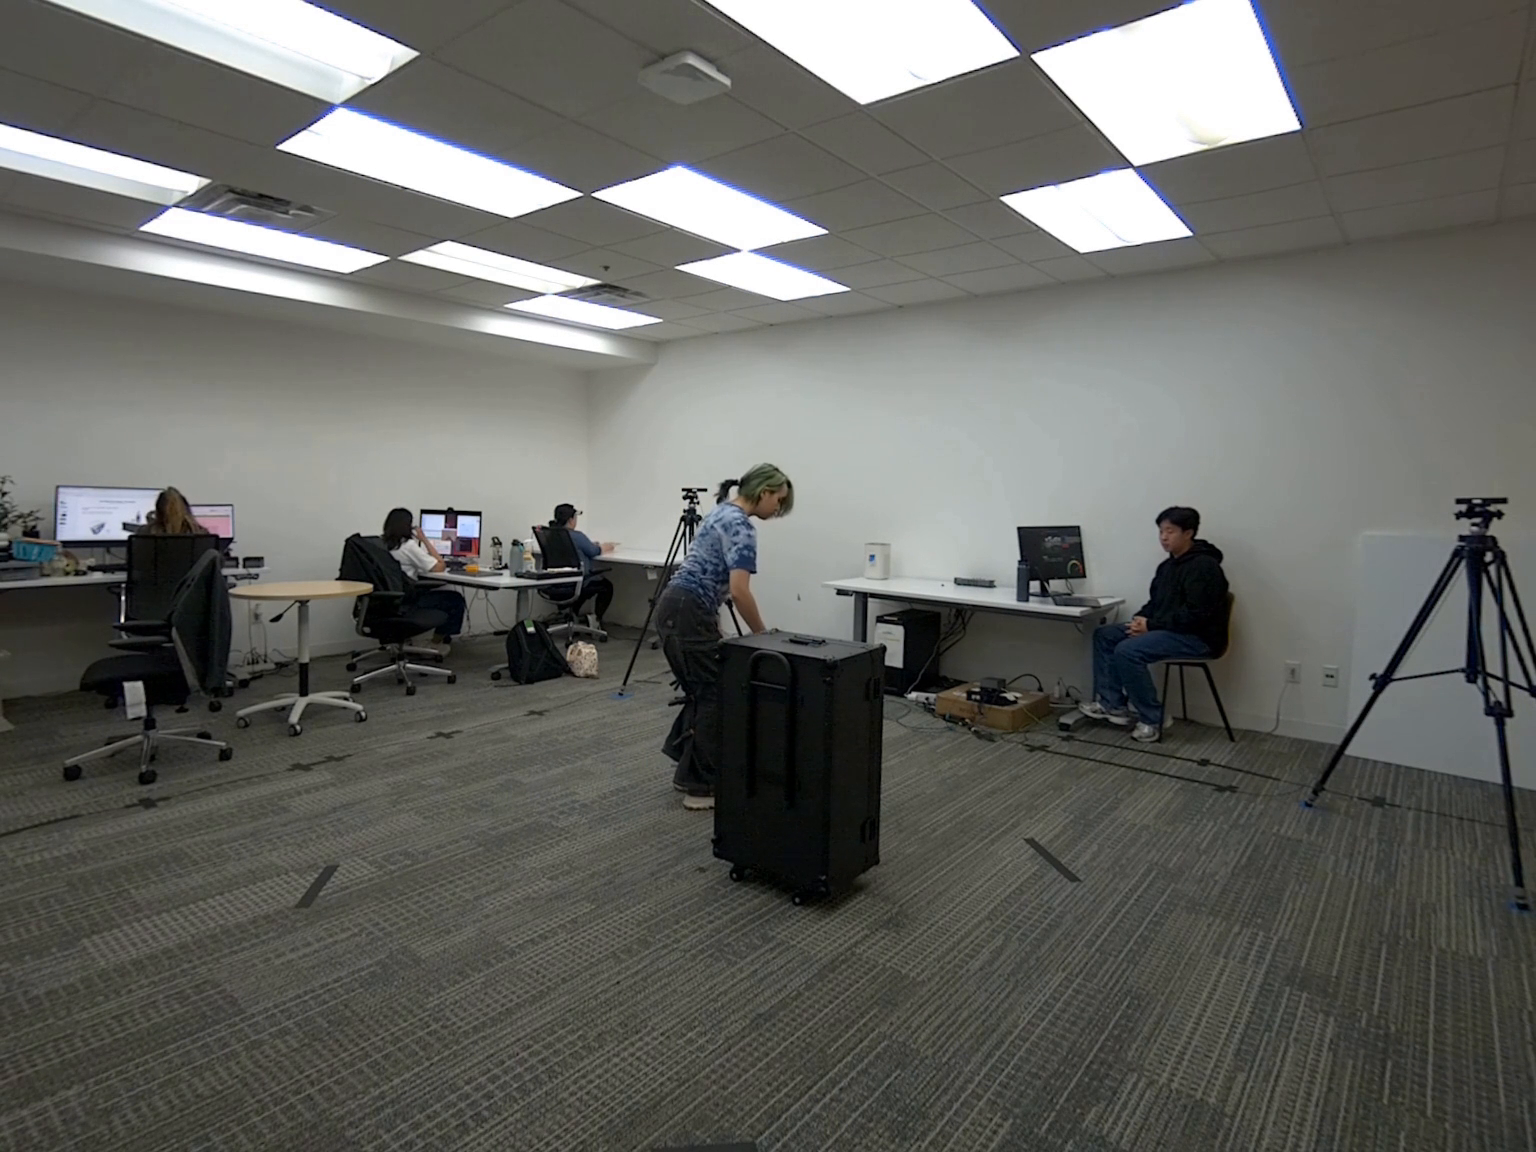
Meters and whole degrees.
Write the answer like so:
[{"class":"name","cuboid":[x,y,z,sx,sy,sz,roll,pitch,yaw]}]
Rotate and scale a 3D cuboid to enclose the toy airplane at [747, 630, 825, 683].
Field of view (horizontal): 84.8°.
[{"class":"toy airplane","cuboid":[0.076,0.355,3.789,0.246,0.155,0.267,-1,10,-22]}]
